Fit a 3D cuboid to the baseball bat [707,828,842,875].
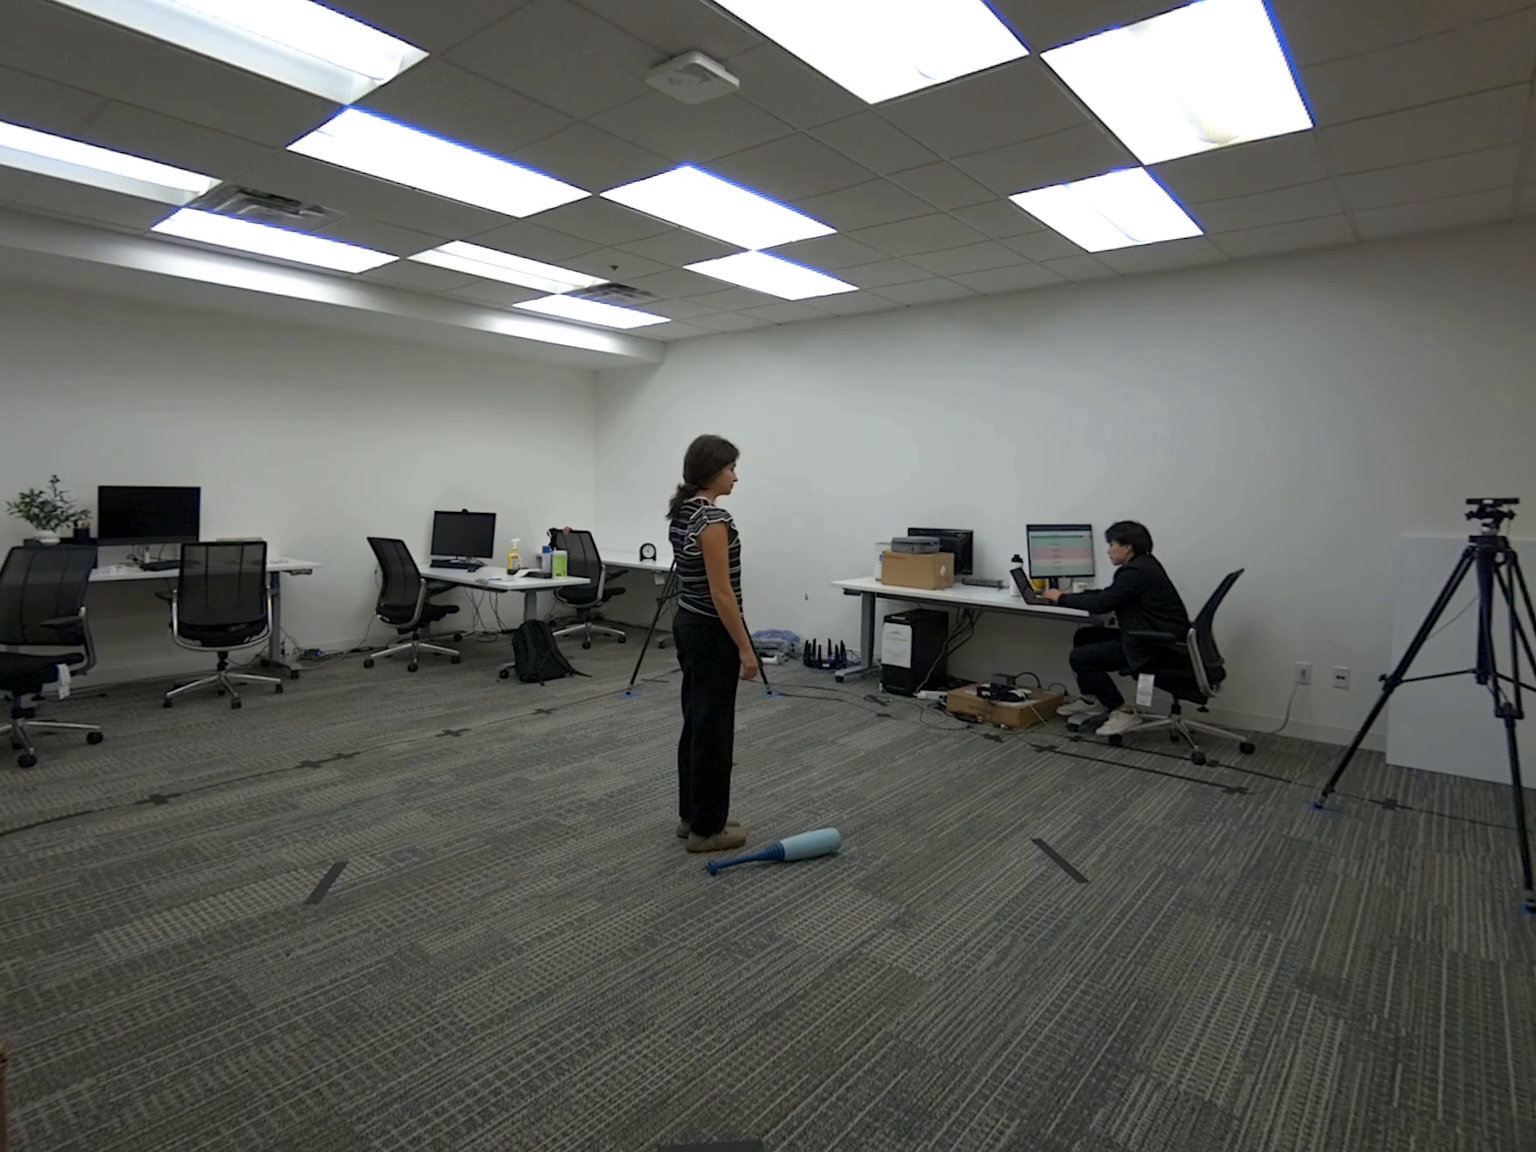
[{"bbox_3d":[0.023,1.030,3.168,0.530,0.088,0.091,-4,6,-26],"label":"baseball bat"}]
